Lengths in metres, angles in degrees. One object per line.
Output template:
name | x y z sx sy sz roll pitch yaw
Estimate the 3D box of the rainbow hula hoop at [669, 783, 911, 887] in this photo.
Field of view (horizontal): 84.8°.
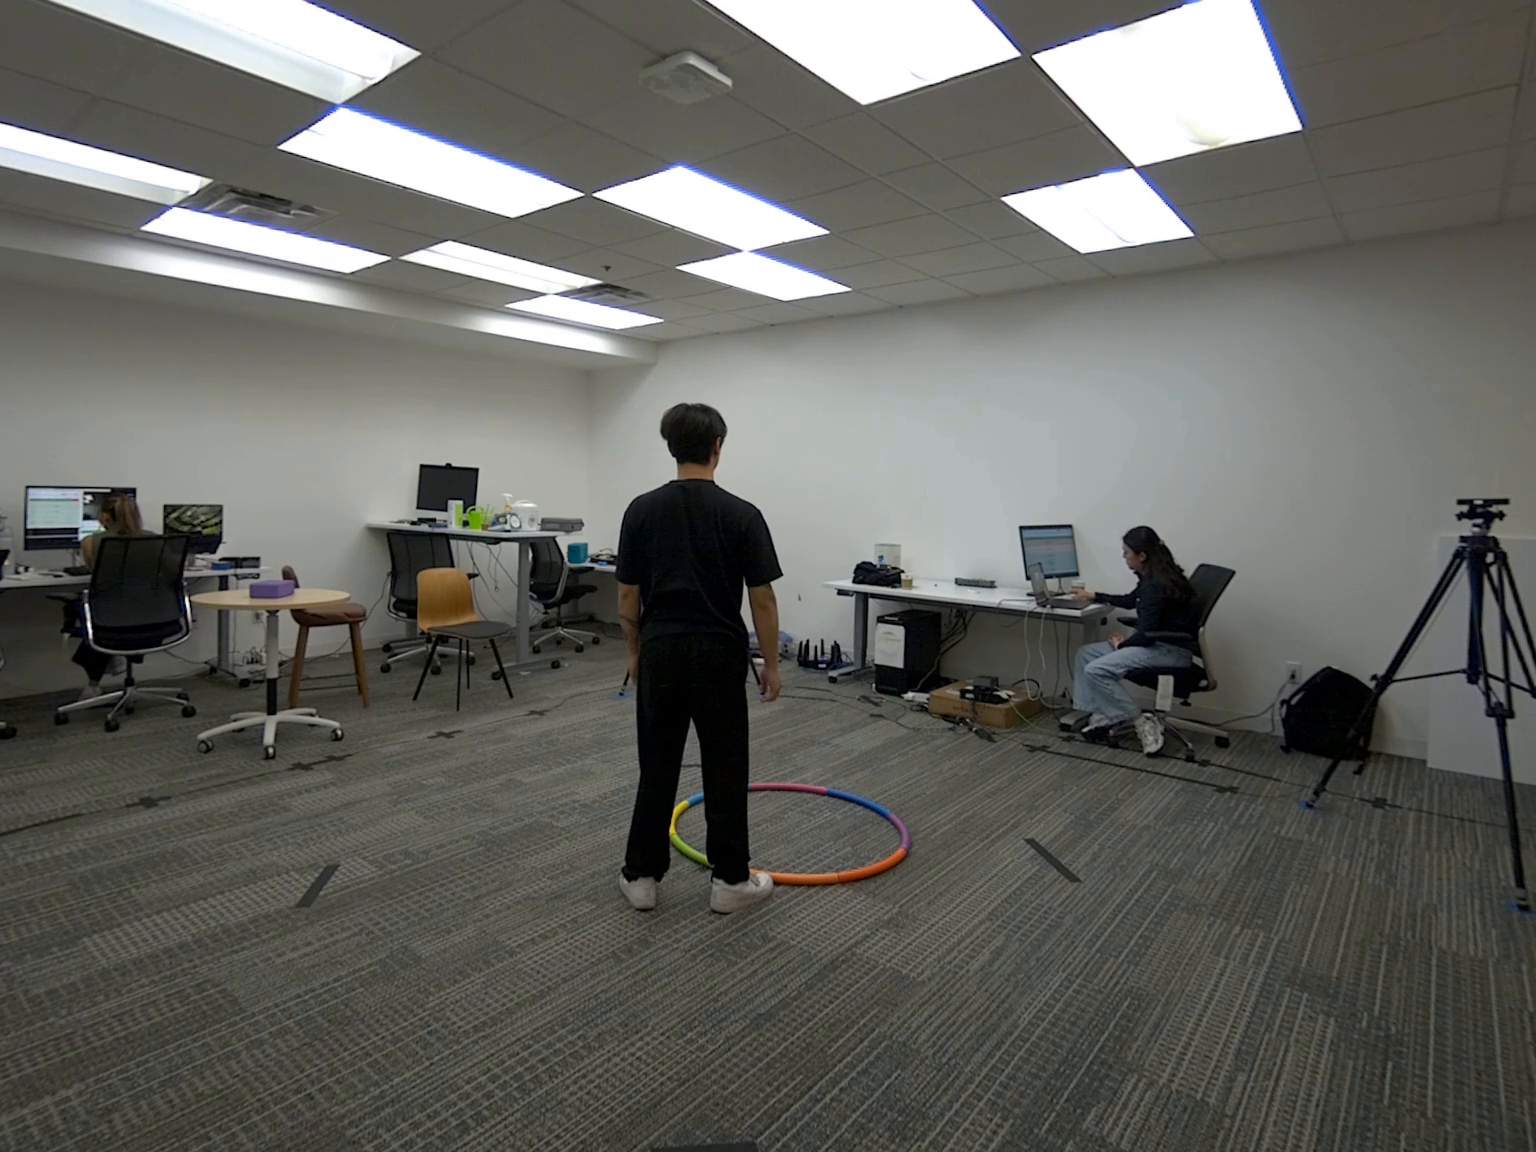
rainbow hula hoop | 0.067 1.013 3.476 0.978 0.035 0.984 1 6 -2
